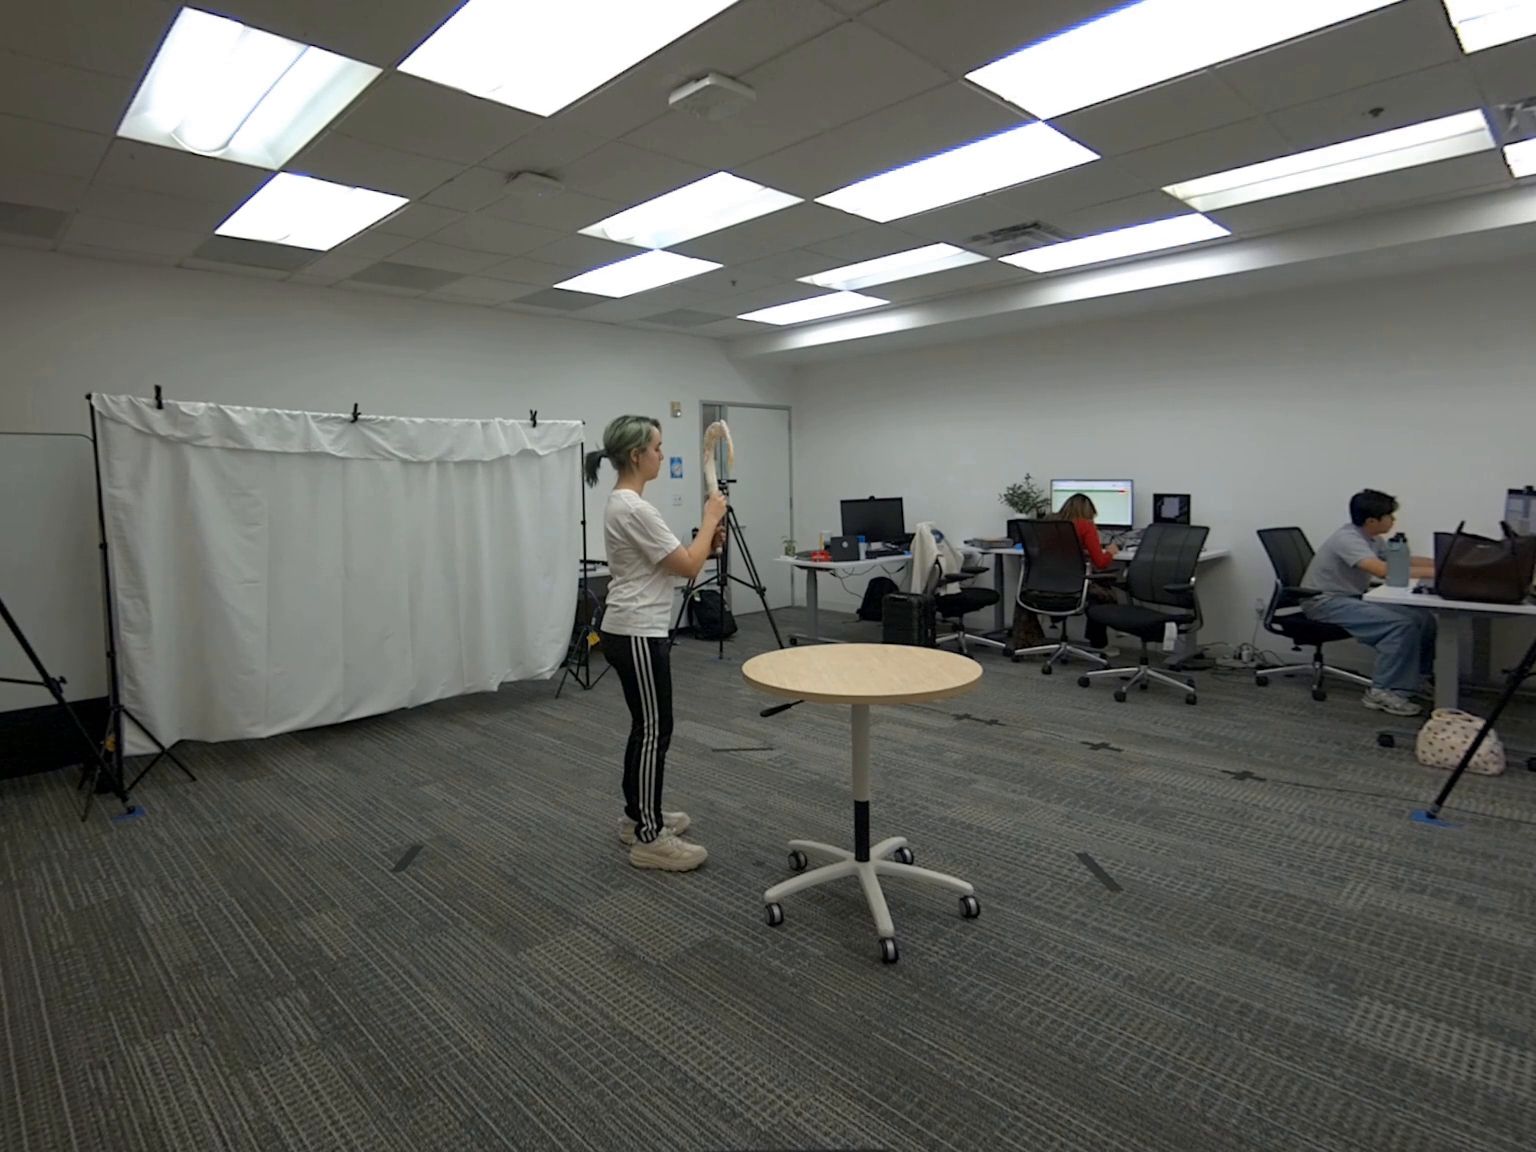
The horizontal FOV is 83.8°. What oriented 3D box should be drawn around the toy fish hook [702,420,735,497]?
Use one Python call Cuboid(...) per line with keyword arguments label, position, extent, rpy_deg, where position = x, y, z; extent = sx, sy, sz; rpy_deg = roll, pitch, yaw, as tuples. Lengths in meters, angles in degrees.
Cuboid(label="toy fish hook", position=(-0.190, -0.335, 3.240), extent=(0.047, 0.507, 0.229), rpy_deg=(-2, -2, -24))
